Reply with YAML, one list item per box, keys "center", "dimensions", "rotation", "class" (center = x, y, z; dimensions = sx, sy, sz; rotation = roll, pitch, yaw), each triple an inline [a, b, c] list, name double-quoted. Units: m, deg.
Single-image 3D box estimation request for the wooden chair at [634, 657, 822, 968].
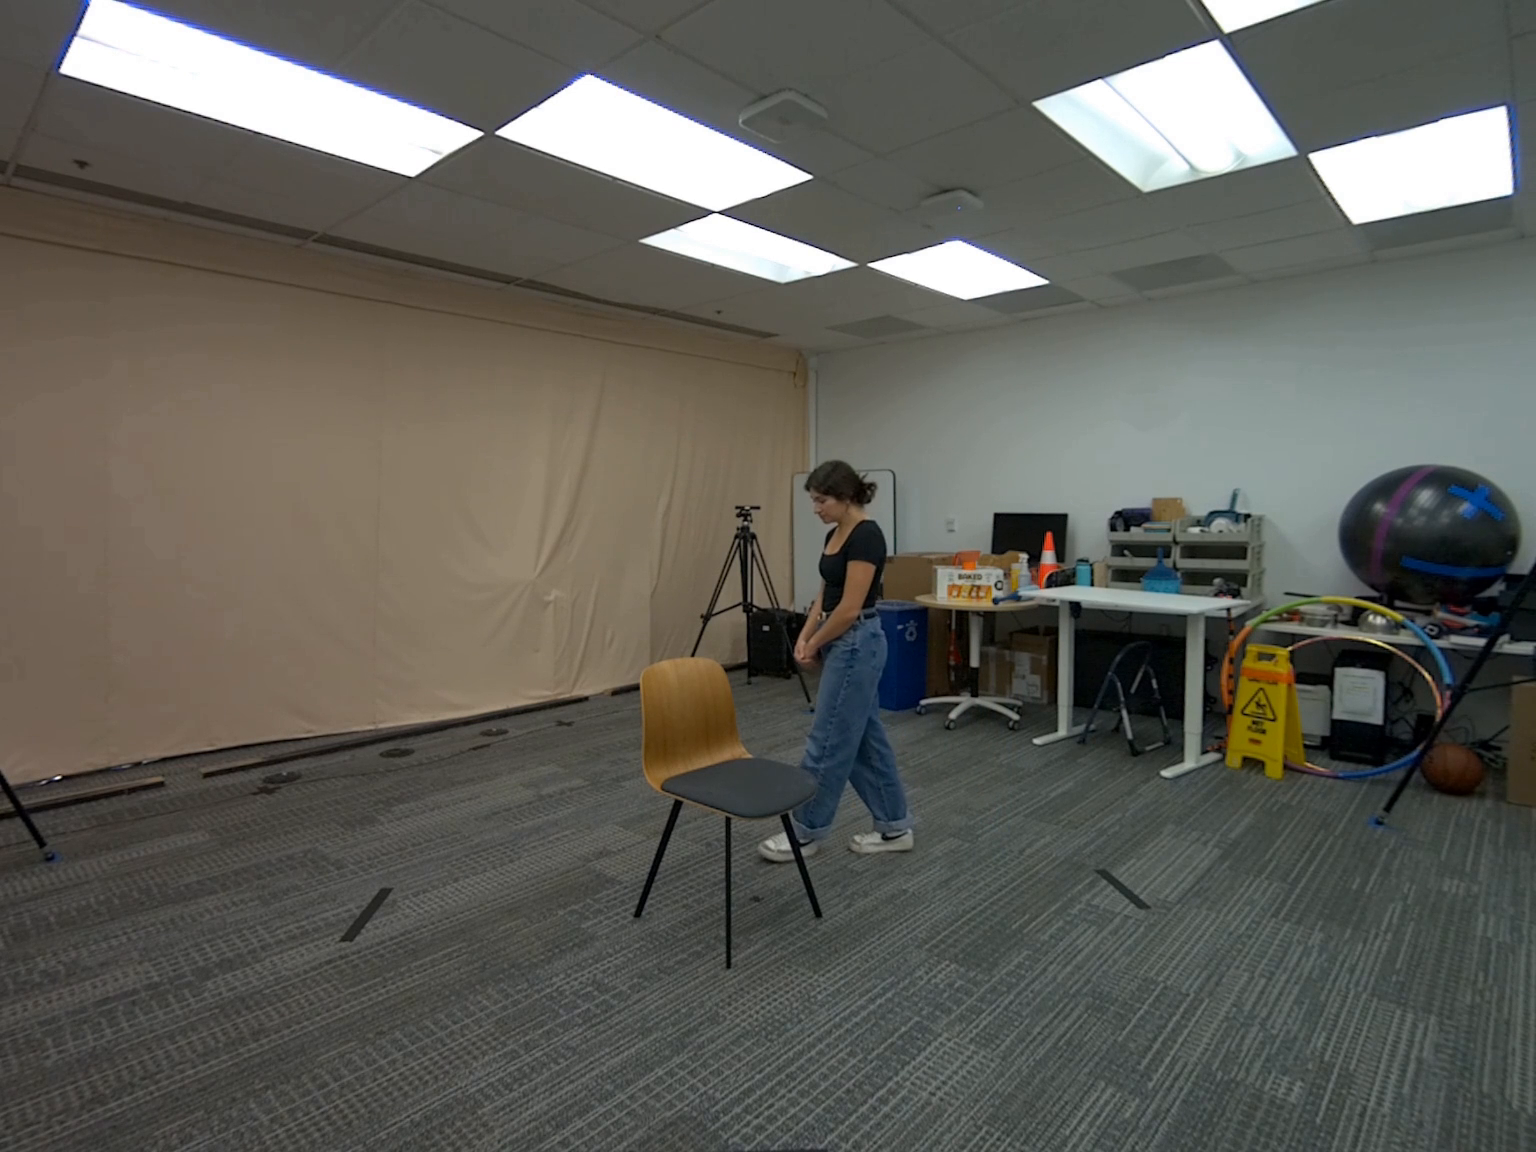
- center: [-0.131, 0.733, 2.813]
  dimensions: [0.539, 0.877, 0.463]
  rotation: [-3, 0, 44]
  class: "wooden chair"
